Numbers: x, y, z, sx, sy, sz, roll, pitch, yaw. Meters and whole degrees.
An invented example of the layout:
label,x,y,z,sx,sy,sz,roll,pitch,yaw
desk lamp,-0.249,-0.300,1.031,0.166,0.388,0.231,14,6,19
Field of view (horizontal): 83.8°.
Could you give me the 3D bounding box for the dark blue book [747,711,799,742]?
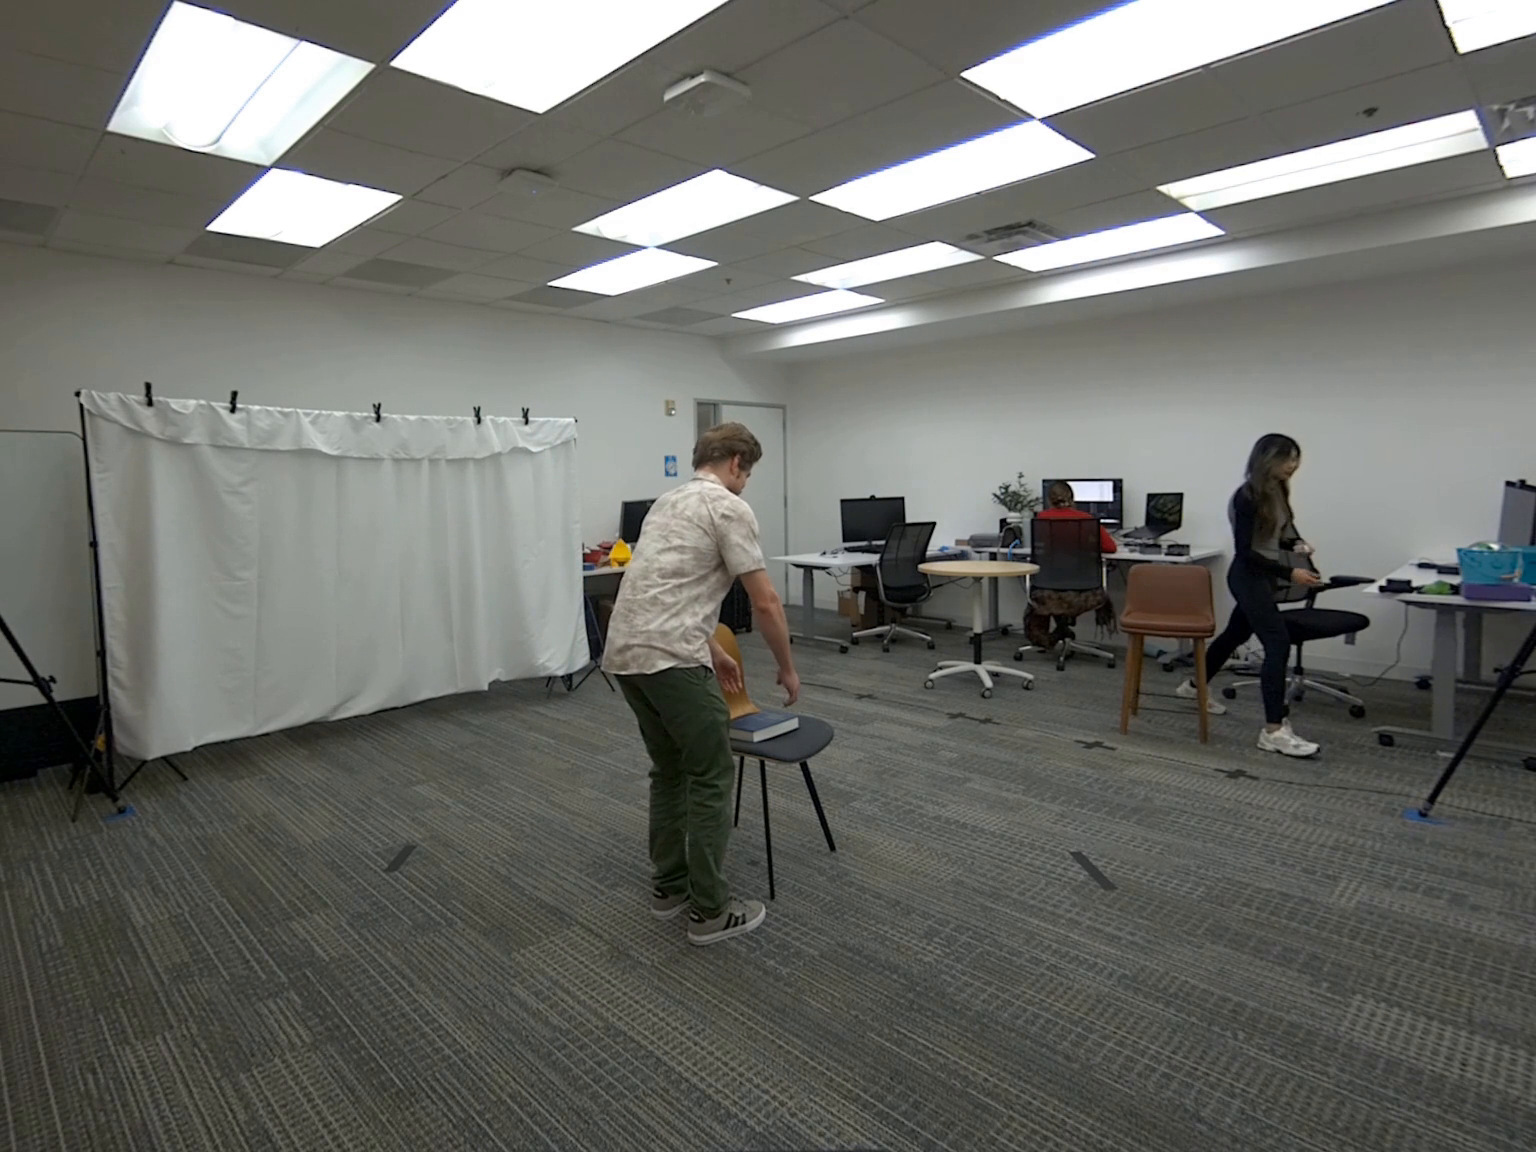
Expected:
label,x,y,z,sx,sy,sz,roll,pitch,yaw
dark blue book,-0.028,0.536,3.080,0.168,0.045,0.239,2,7,43
